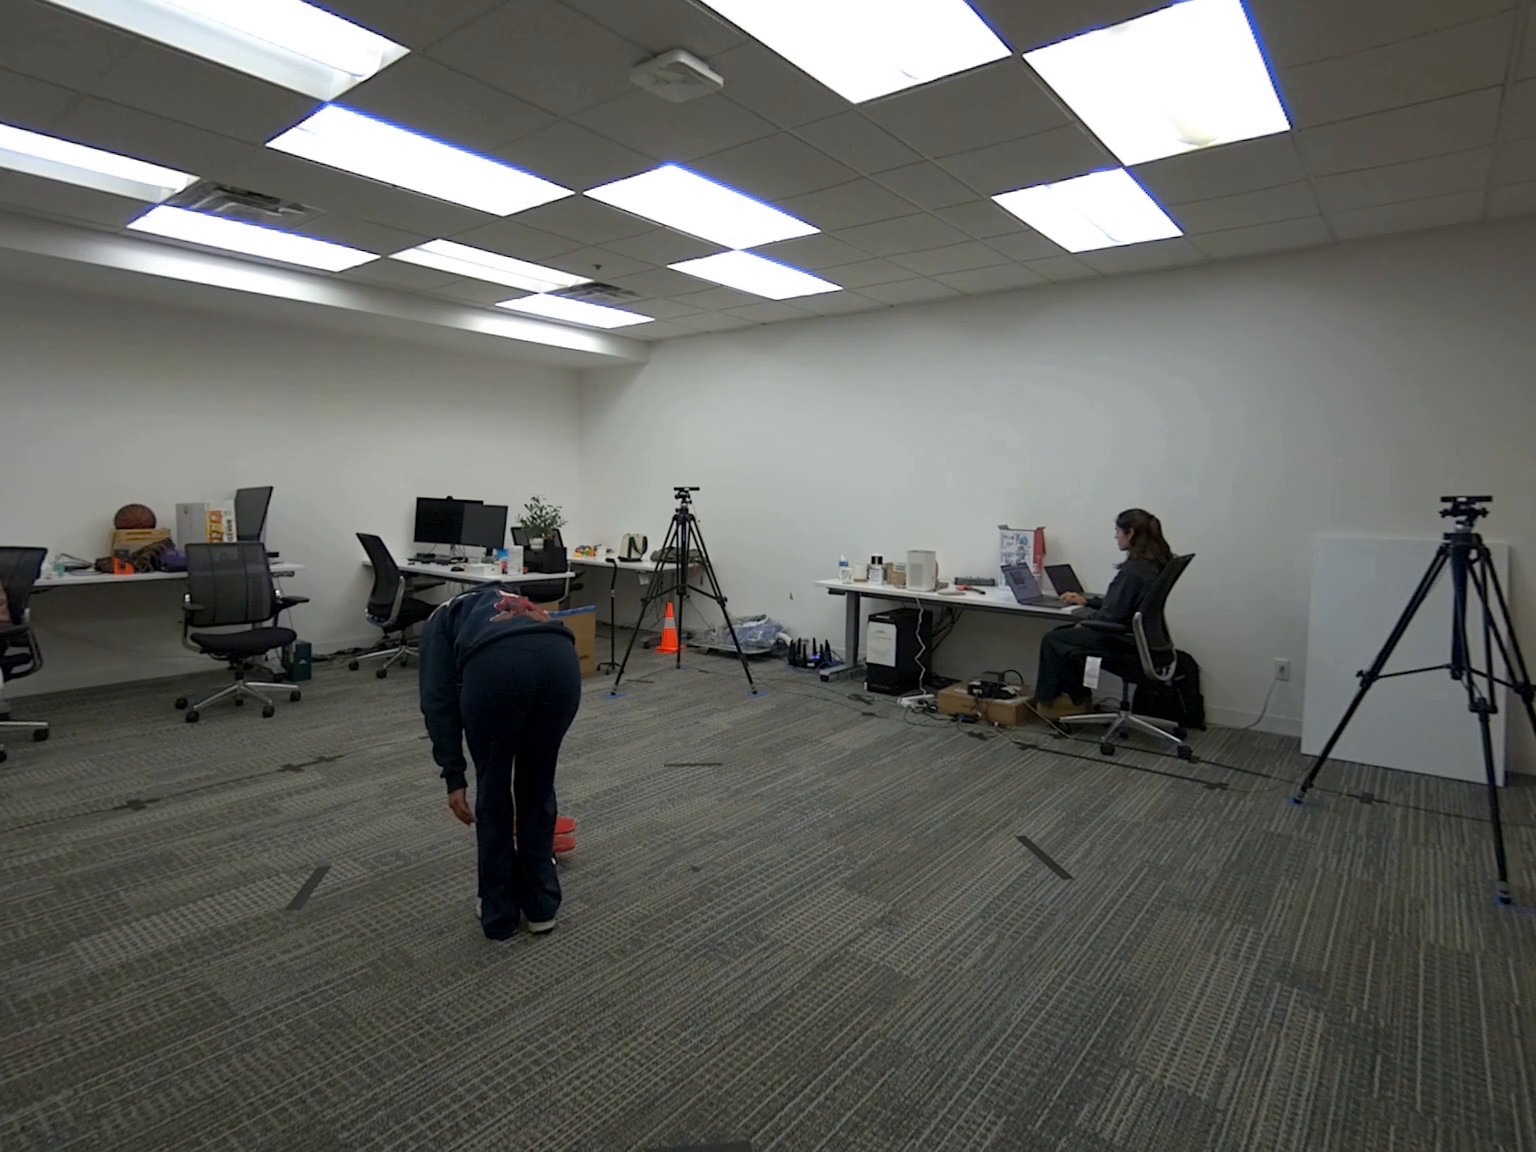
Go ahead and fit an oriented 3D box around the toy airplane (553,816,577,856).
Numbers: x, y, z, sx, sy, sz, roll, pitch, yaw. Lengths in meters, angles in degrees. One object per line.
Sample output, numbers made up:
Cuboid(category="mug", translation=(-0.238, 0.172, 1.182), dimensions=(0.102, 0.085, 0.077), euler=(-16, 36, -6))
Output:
Cuboid(category="toy airplane", translation=(-0.824, 0.980, 3.097), dimensions=(0.244, 0.156, 0.268), euler=(-2, 6, -35))
